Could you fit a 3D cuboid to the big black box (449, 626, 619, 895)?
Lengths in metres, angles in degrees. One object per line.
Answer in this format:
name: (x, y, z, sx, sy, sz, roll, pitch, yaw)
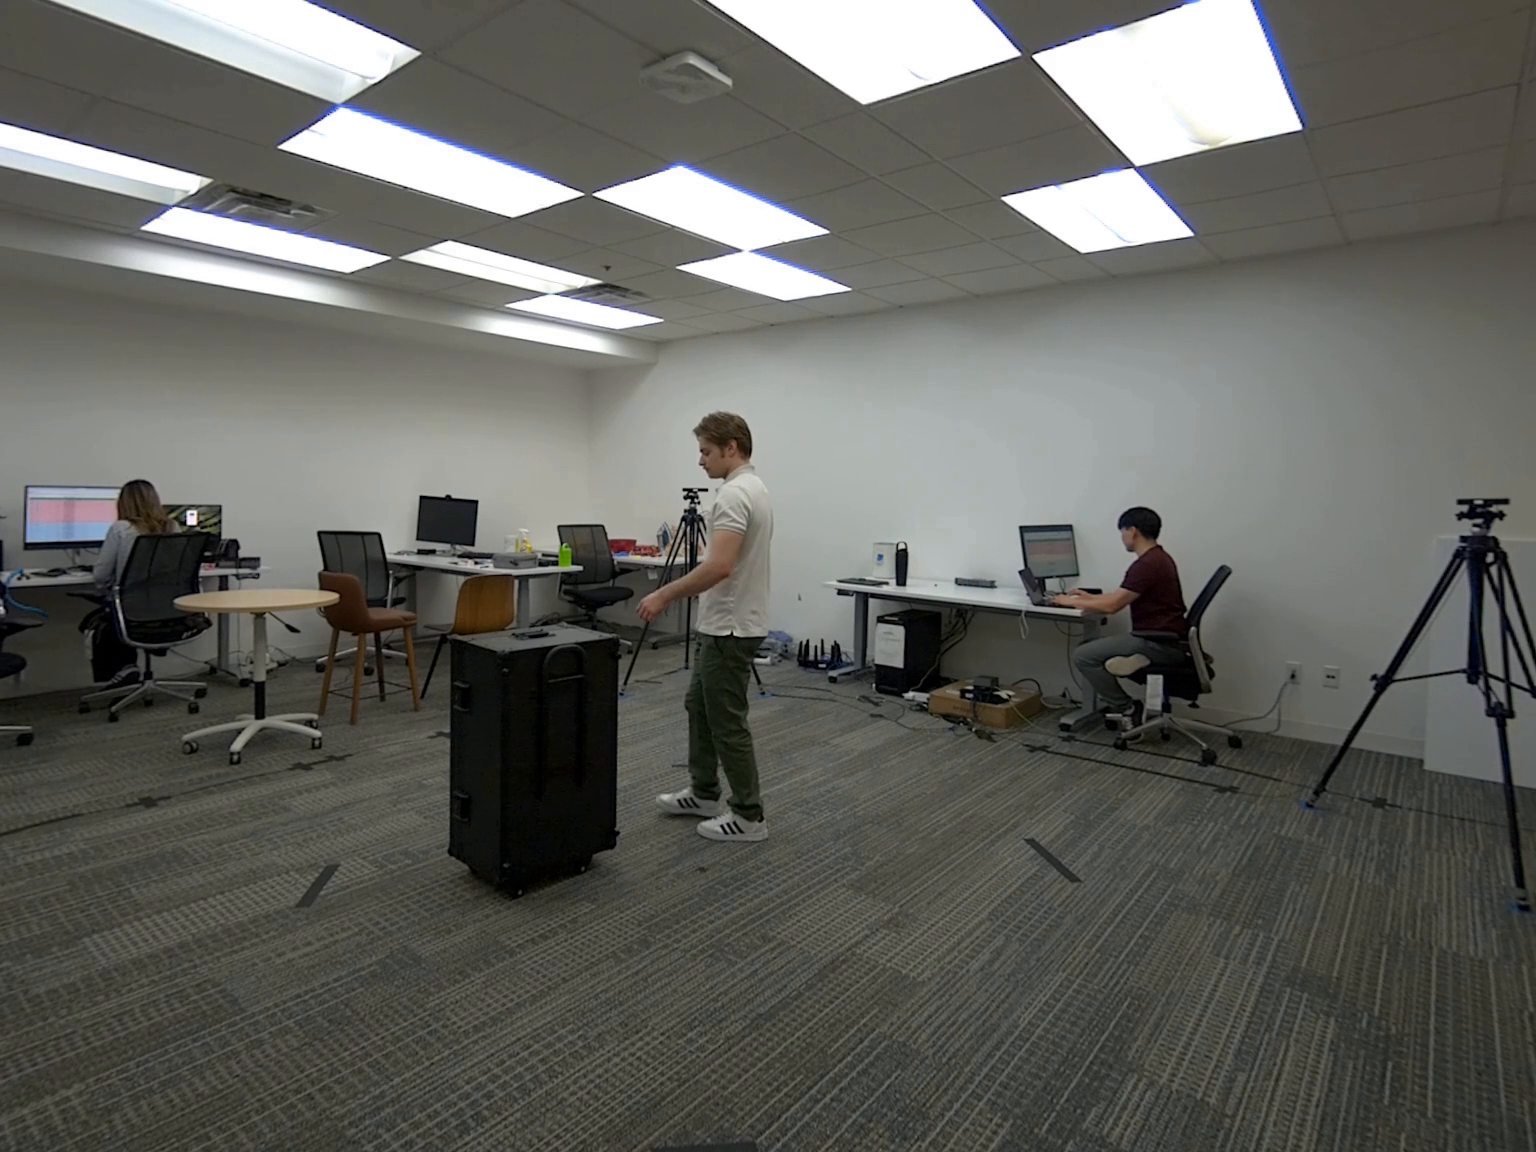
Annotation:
big black box: (-0.841, 0.643, 3.049, 0.410, 0.859, 0.505, 5, 5, 43)
